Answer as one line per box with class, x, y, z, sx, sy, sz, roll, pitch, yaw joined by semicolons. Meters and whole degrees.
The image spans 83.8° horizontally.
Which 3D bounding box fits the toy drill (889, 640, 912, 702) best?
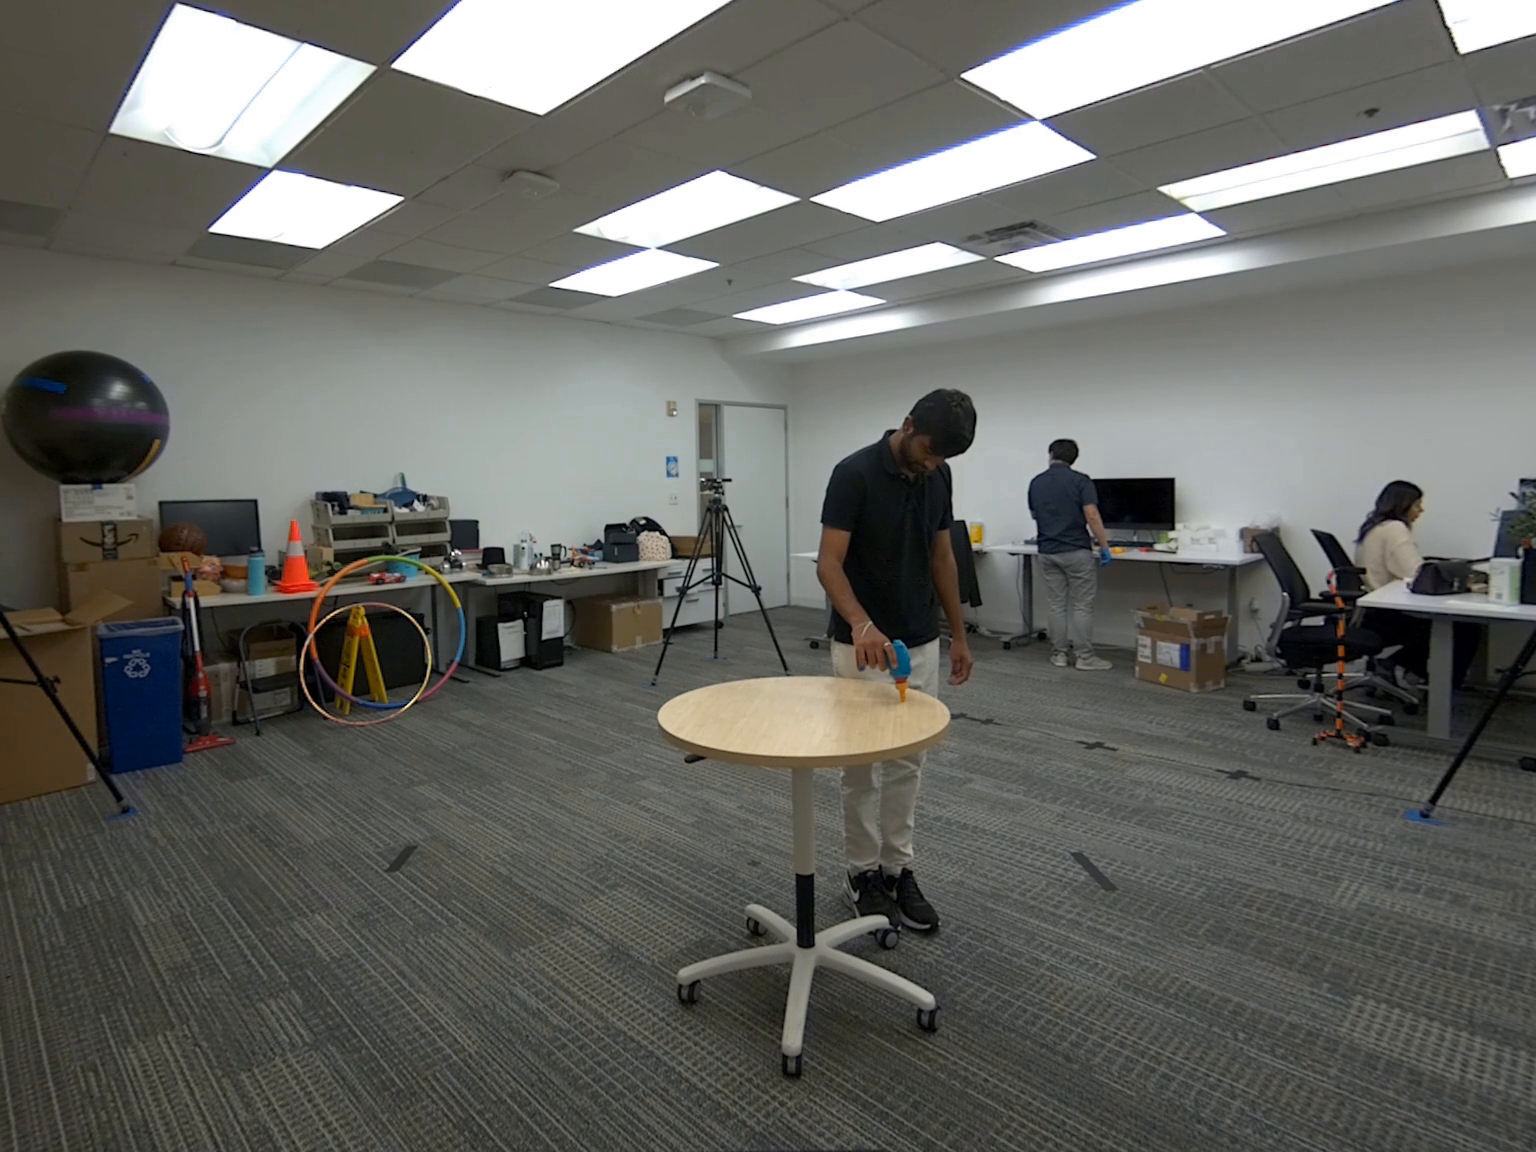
toy drill;0.321;0.266;2.332;0.149;0.170;0.060;-5;1;21
